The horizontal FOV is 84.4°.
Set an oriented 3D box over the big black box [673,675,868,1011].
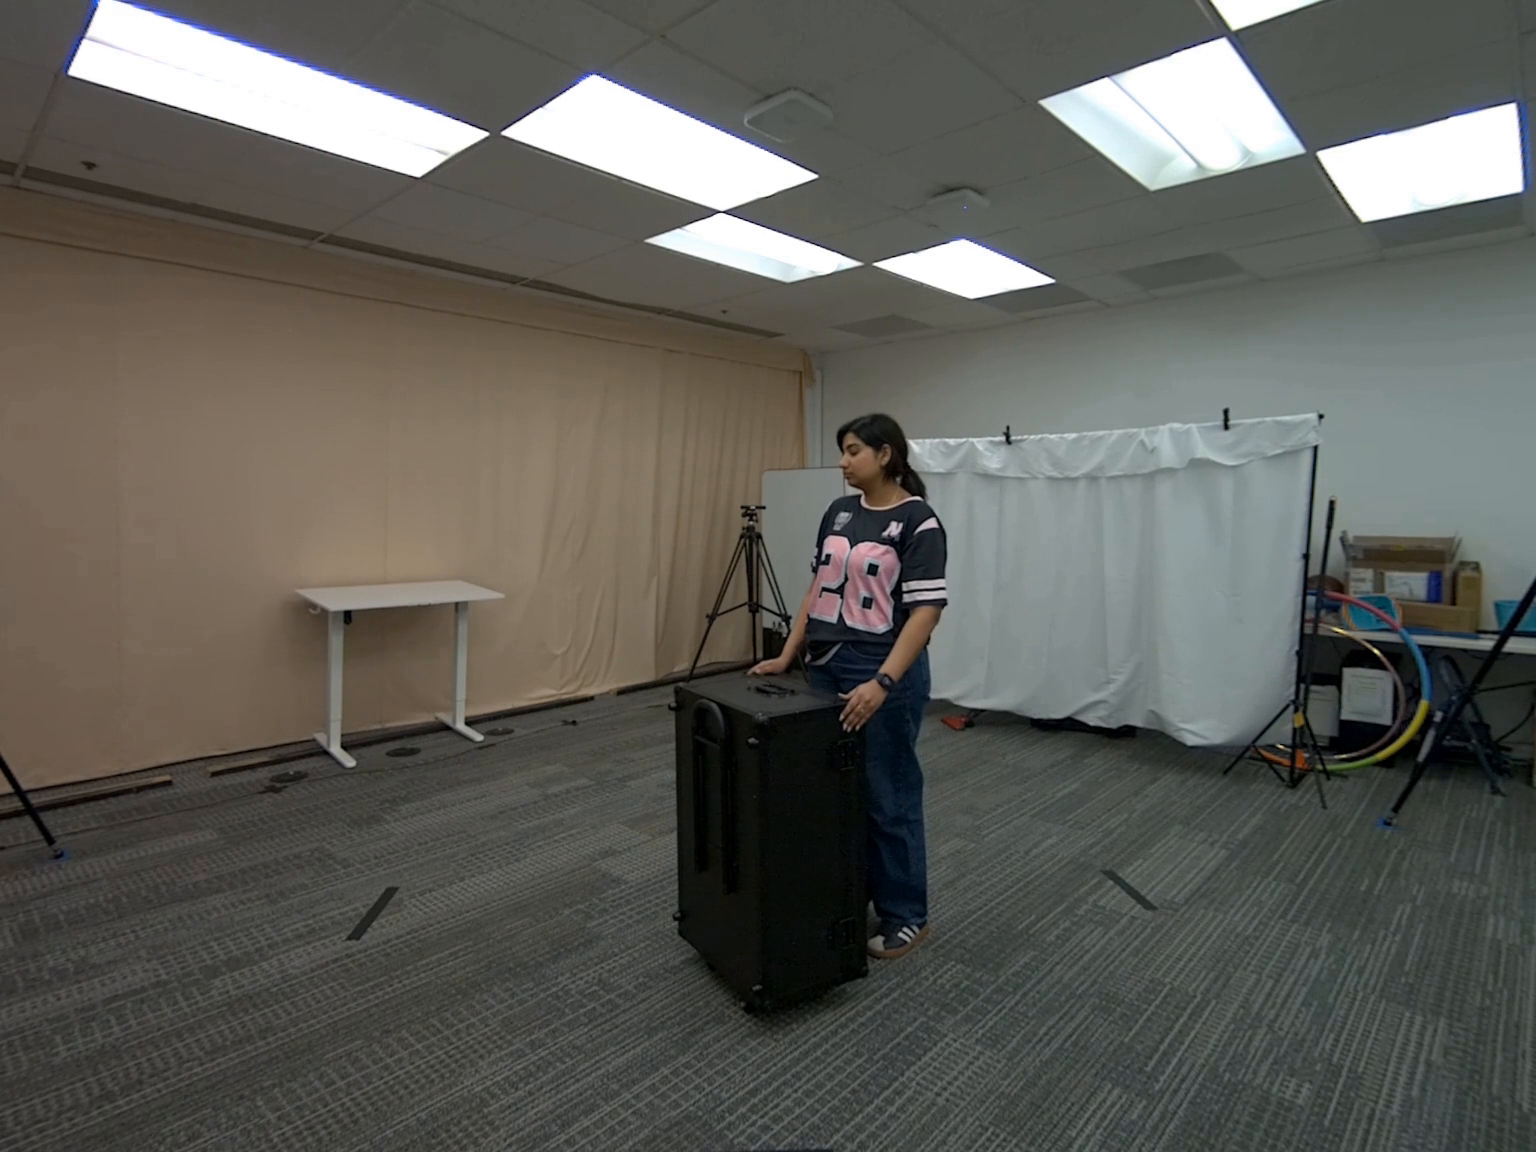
[{"bbox_3d":[-0.005,0.766,2.451,0.375,0.867,0.539,-3,4,-31],"label":"big black box"}]
